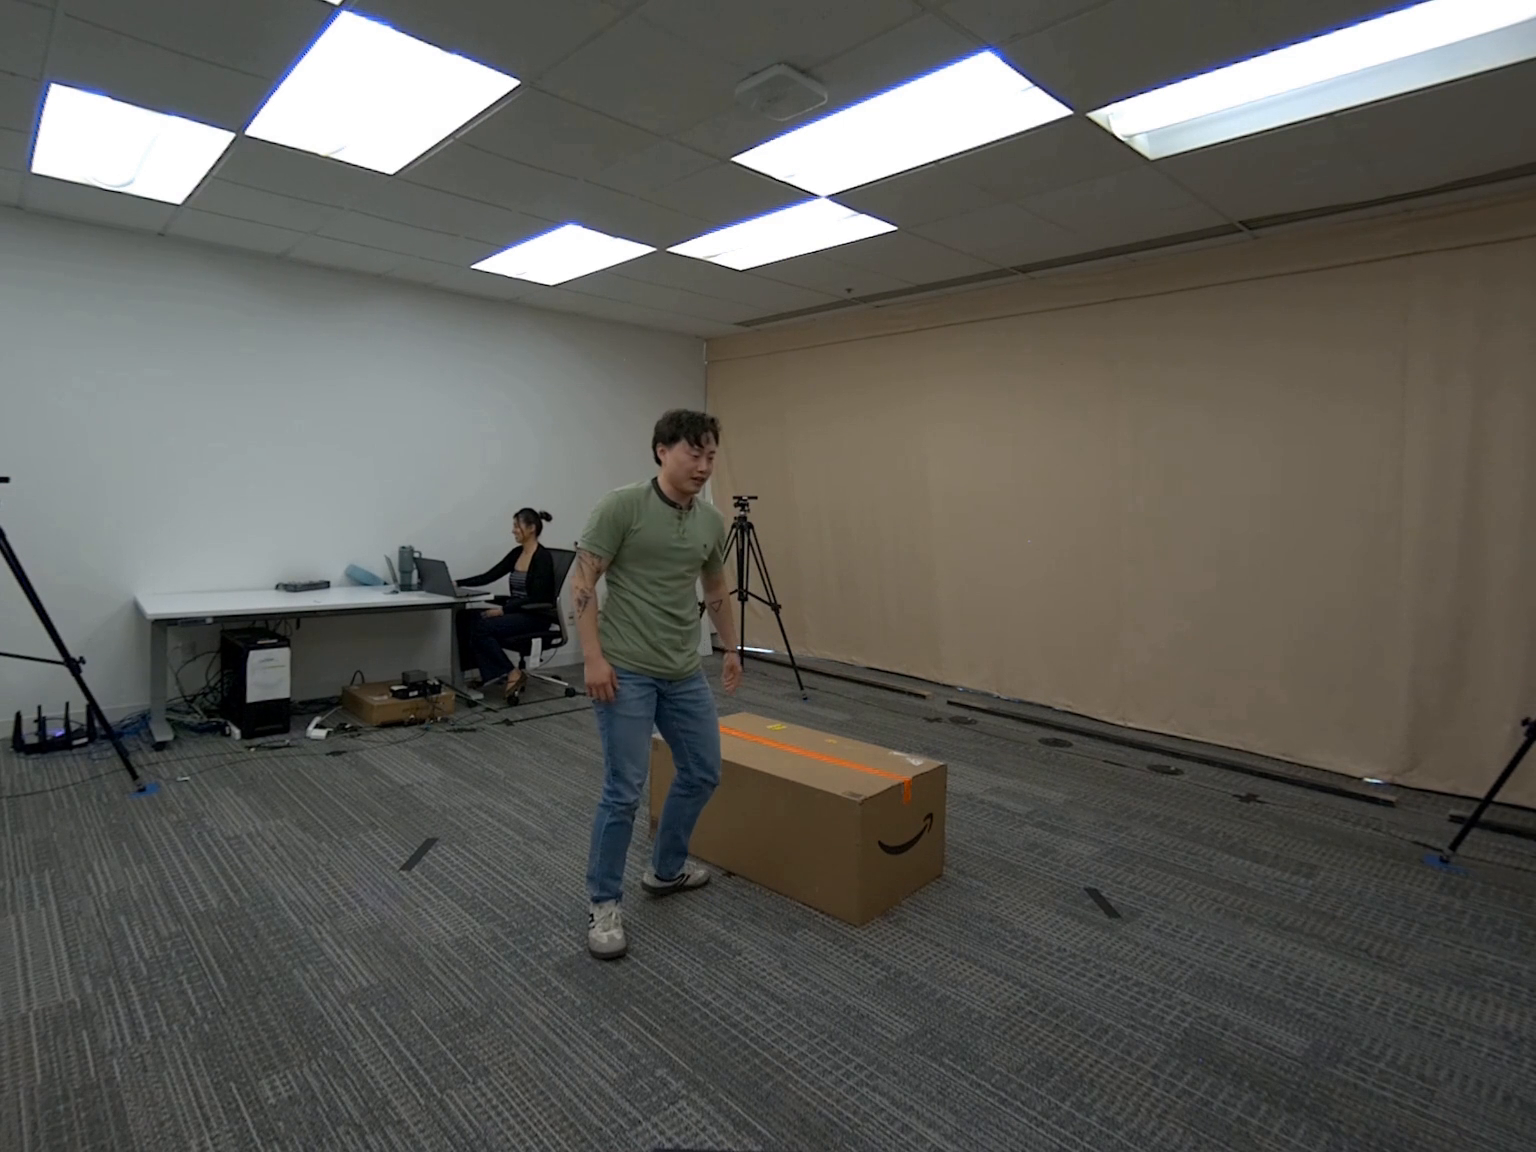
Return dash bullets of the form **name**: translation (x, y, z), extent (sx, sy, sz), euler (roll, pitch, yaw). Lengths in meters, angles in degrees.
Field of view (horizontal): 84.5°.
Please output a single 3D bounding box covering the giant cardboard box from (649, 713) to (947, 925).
- **giant cardboard box**: translation (0.086, 0.881, 3.278), extent (1.052, 0.425, 0.564), euler (6, 5, 42)
